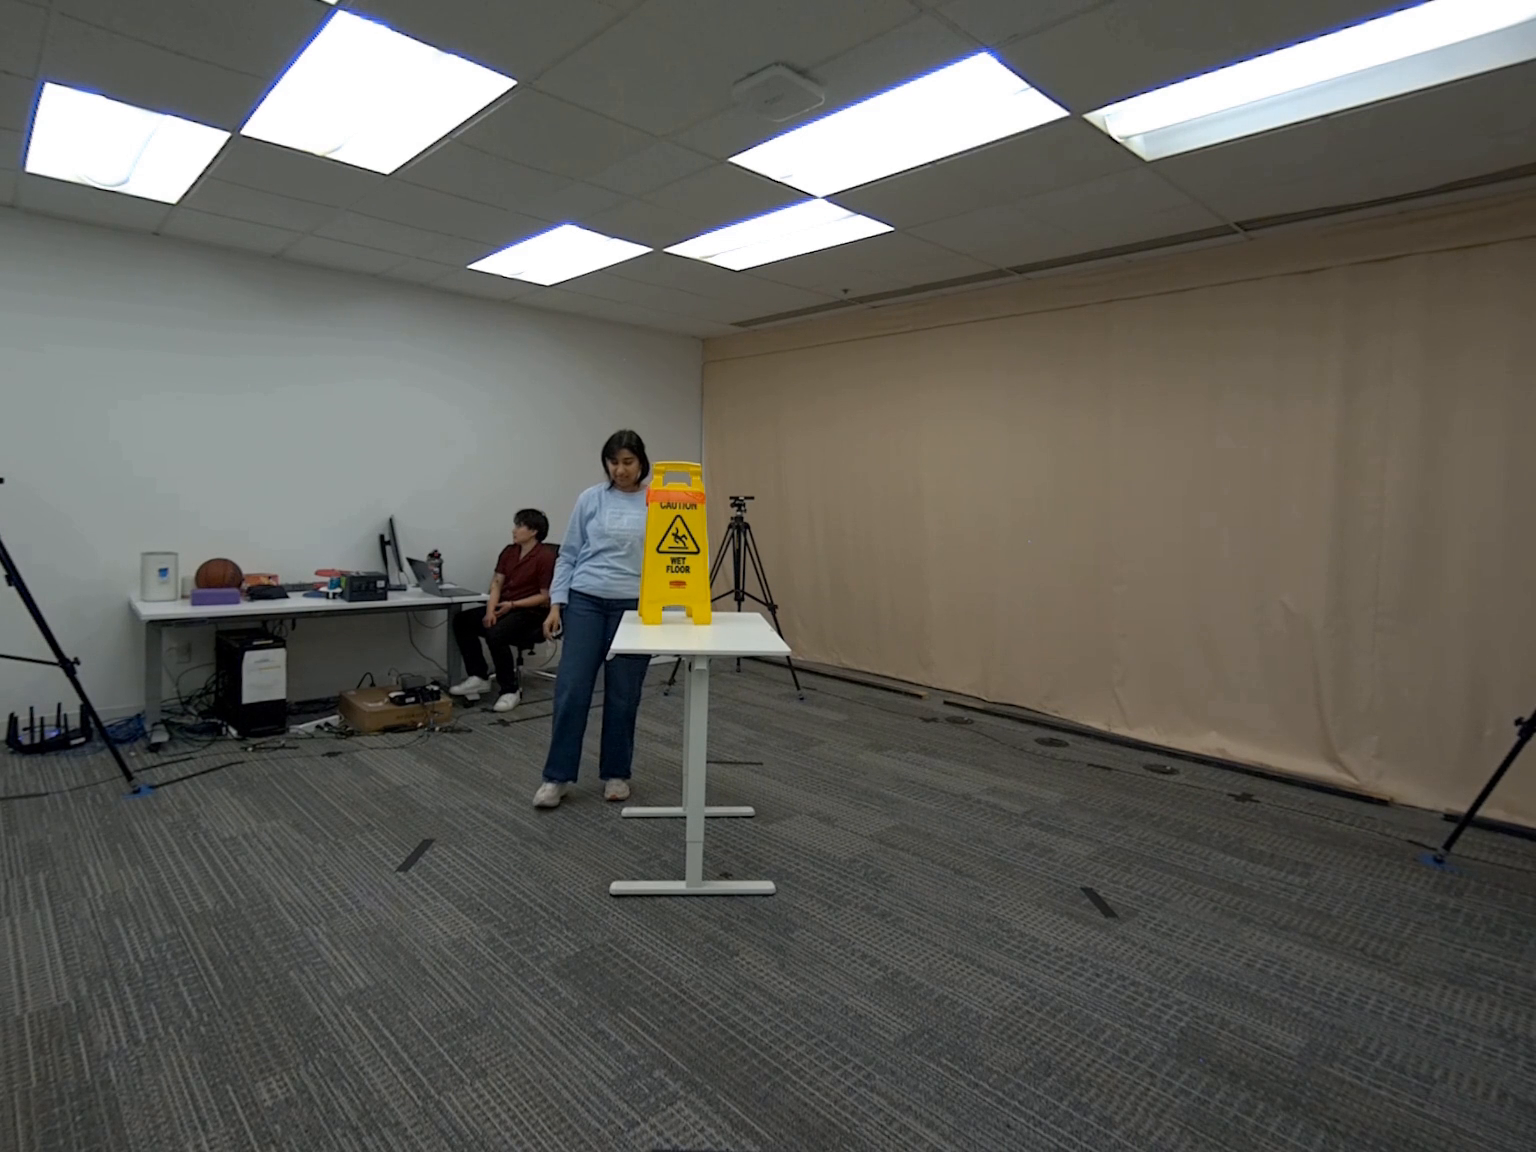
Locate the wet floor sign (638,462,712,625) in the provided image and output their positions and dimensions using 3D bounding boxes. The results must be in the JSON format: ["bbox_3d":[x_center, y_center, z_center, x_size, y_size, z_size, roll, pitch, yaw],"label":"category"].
[{"bbox_3d":[-0.387,-0.138,3.461,0.280,0.644,0.293,1,3,-10],"label":"wet floor sign"}]
